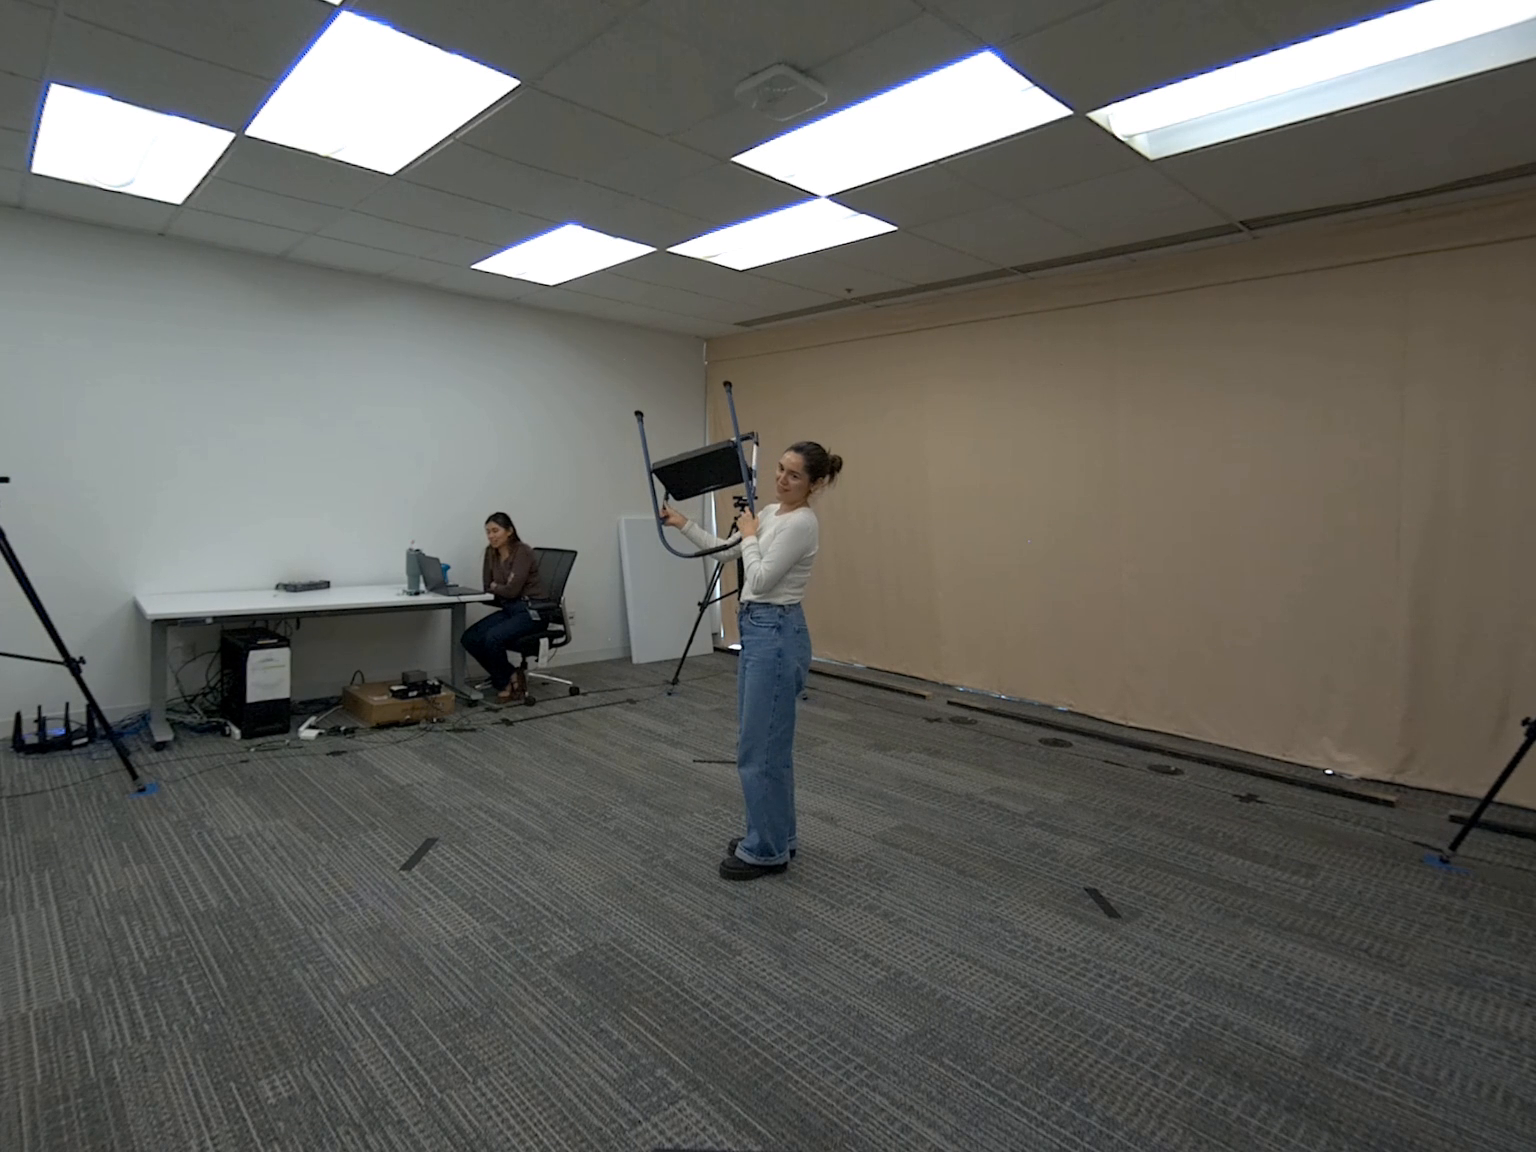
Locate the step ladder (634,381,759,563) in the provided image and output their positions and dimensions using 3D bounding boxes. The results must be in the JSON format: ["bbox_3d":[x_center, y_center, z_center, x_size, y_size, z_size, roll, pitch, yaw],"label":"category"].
[{"bbox_3d":[-0.276,-0.384,3.356,0.435,0.619,0.338,-16,-34,17],"label":"step ladder"}]
